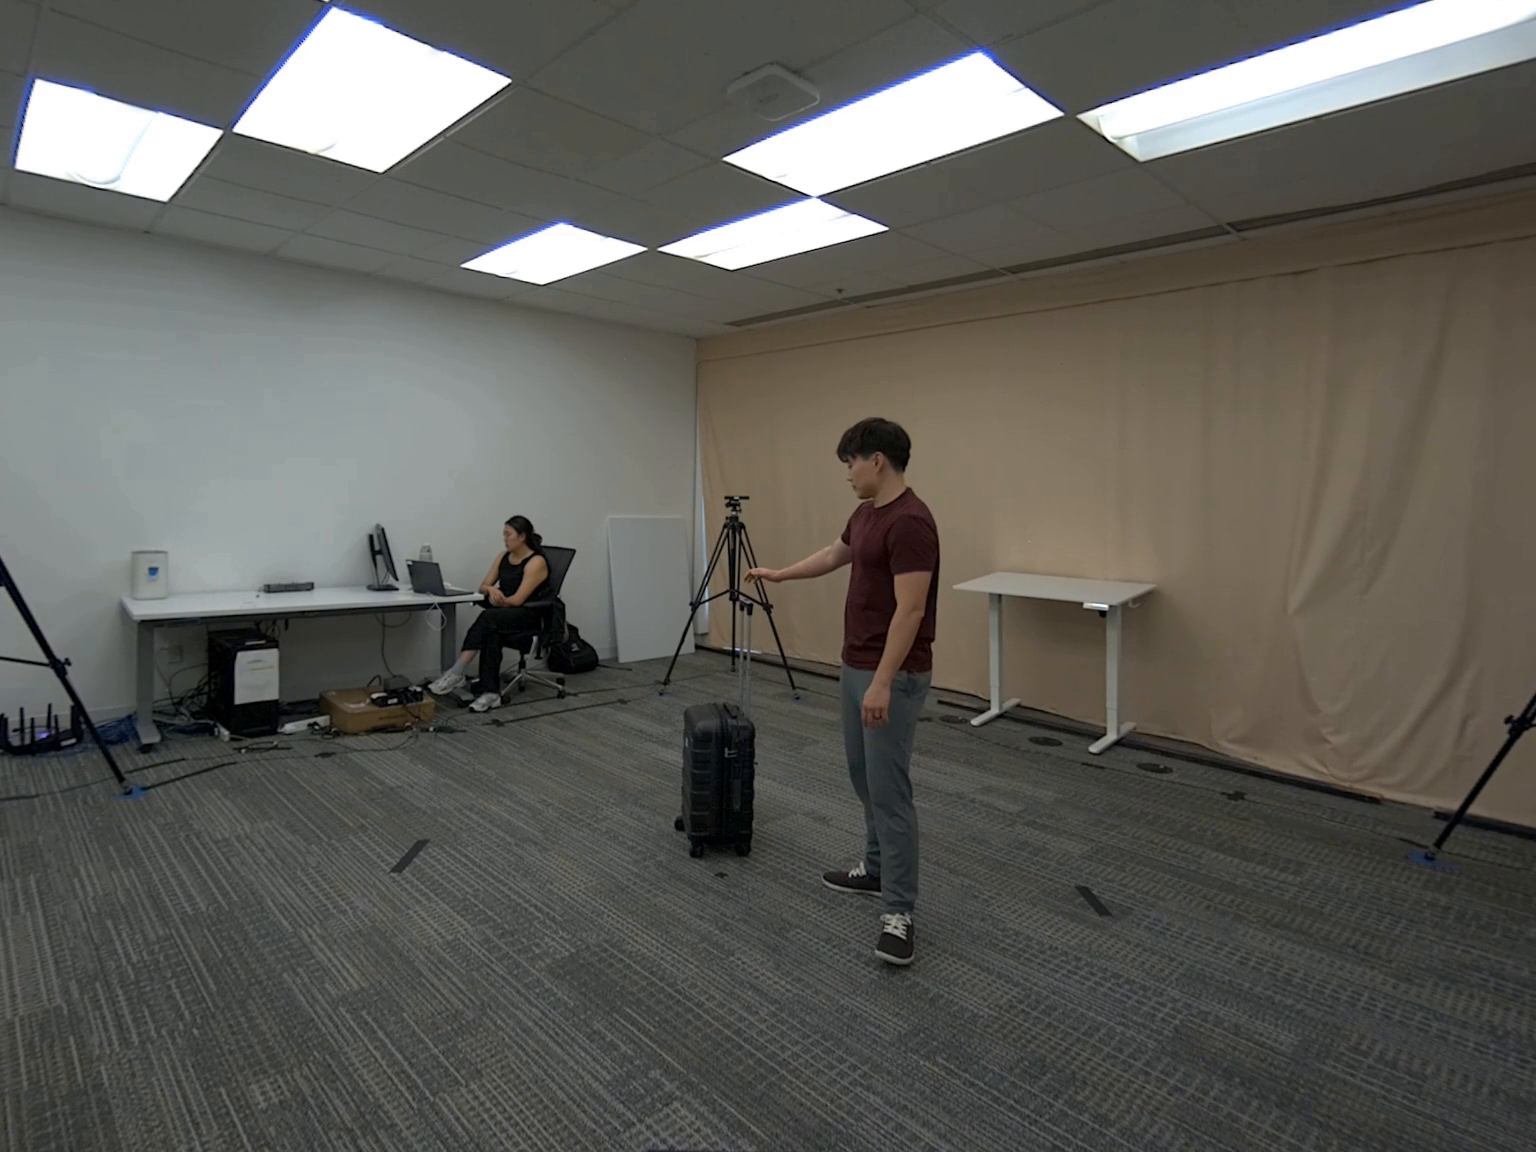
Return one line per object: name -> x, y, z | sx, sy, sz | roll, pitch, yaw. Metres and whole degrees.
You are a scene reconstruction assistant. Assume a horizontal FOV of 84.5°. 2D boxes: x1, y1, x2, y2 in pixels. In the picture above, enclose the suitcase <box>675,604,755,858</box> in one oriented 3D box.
suitcase -> -0.208, 0.598, 3.375 | 0.255, 0.976, 0.388 | -2, 3, -11
